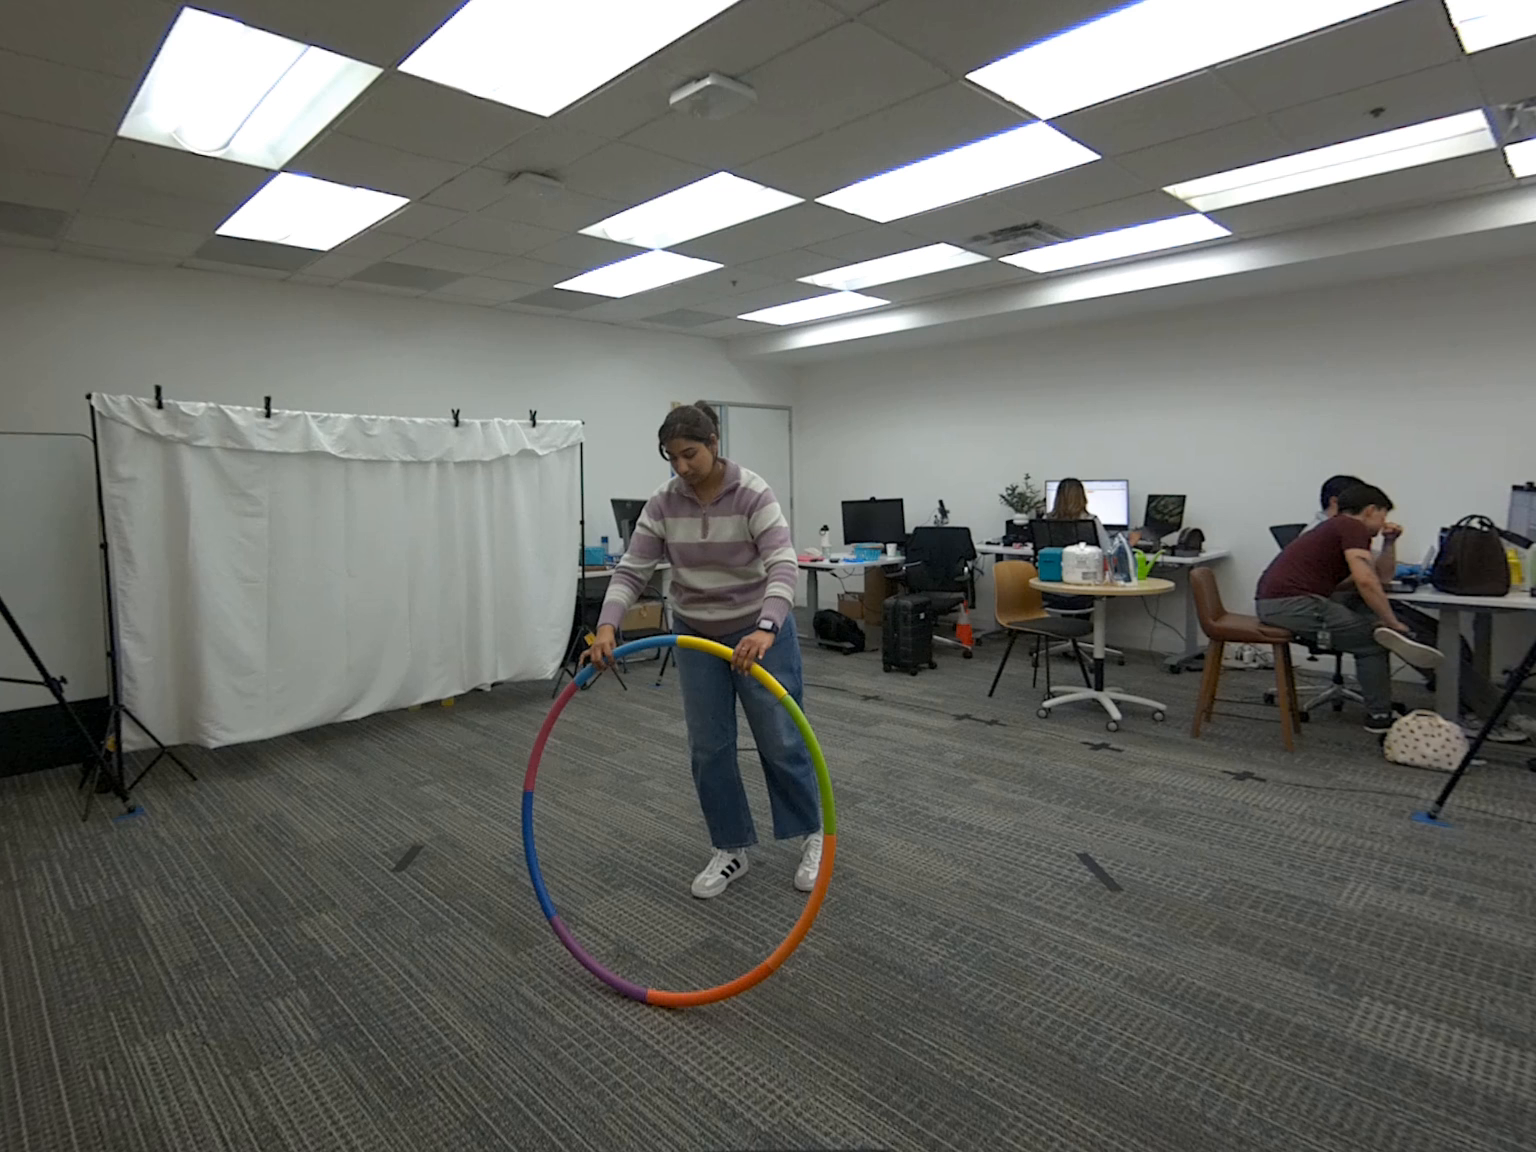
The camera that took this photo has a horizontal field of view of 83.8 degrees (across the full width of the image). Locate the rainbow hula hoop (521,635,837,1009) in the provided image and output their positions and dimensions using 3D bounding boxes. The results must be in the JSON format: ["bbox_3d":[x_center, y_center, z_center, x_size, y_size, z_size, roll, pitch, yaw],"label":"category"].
[{"bbox_3d":[-0.287,0.656,2.402,1.001,0.987,0.034,1,-12,25],"label":"rainbow hula hoop"}]
